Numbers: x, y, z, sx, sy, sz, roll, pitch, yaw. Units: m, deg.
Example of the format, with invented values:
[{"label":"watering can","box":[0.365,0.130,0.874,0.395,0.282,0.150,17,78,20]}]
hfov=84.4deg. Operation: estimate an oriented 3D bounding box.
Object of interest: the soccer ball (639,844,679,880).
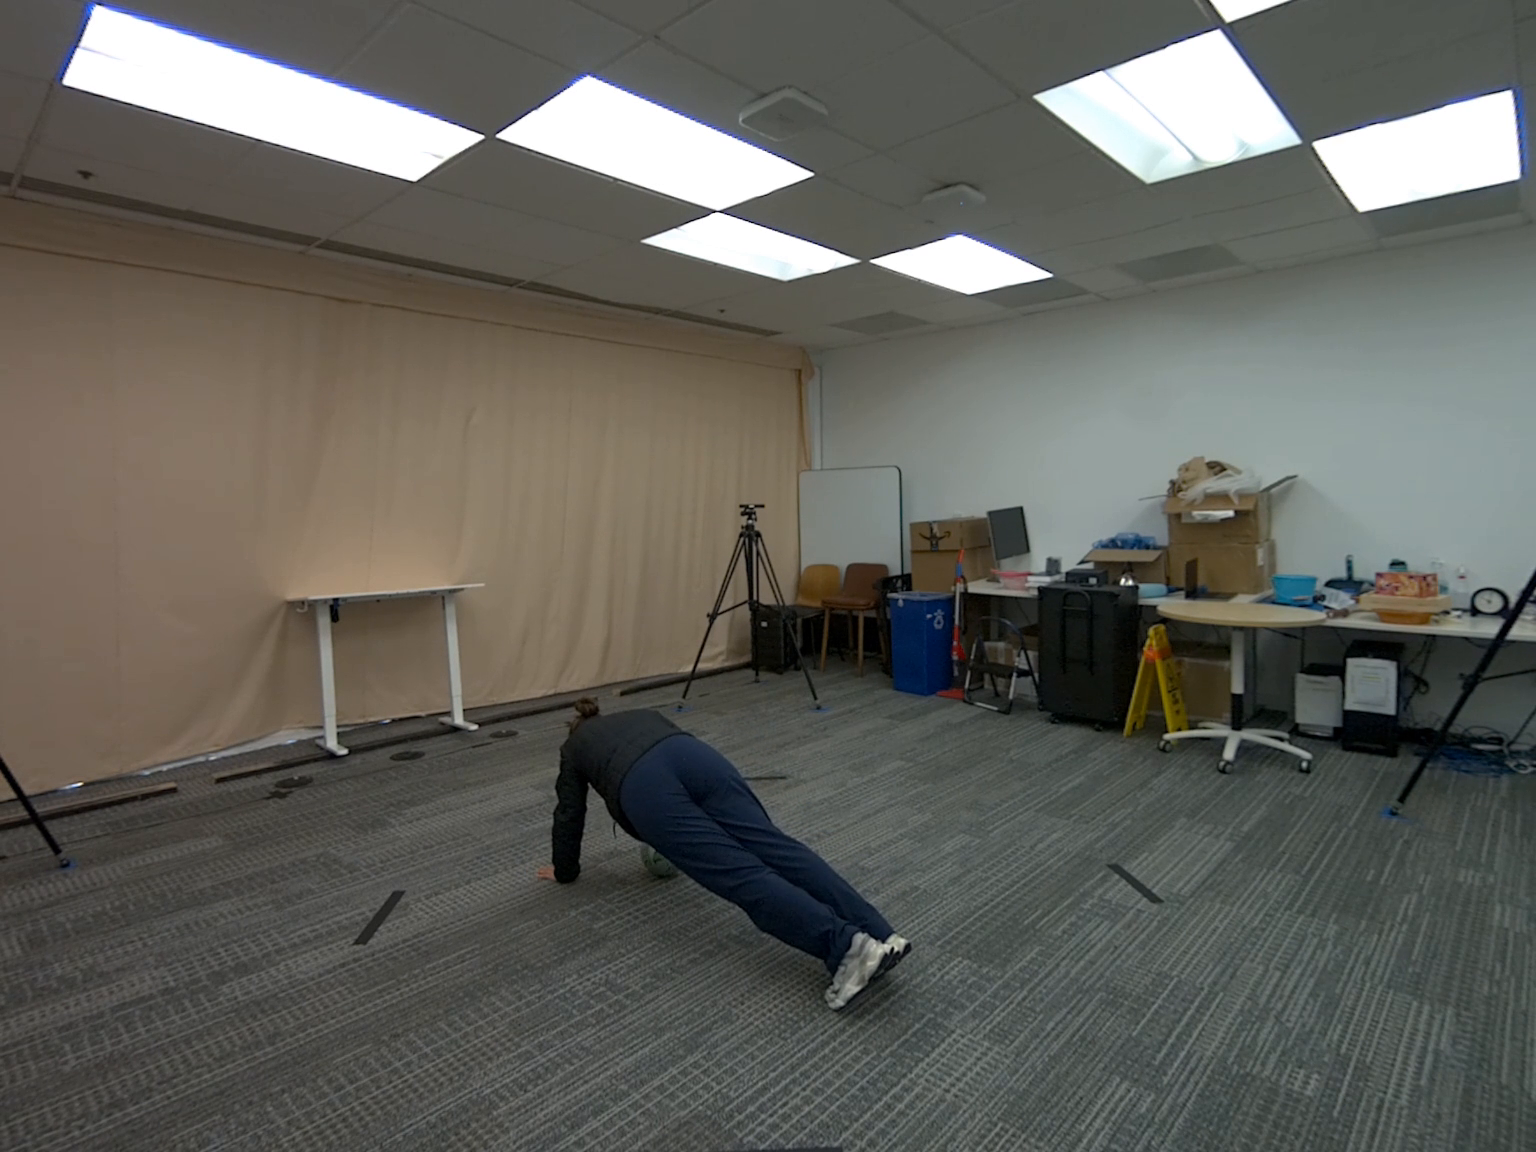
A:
[{"label":"soccer ball","box":[-0.388,1.039,3.189,0.187,0.187,0.188,-1,4,-2]}]
